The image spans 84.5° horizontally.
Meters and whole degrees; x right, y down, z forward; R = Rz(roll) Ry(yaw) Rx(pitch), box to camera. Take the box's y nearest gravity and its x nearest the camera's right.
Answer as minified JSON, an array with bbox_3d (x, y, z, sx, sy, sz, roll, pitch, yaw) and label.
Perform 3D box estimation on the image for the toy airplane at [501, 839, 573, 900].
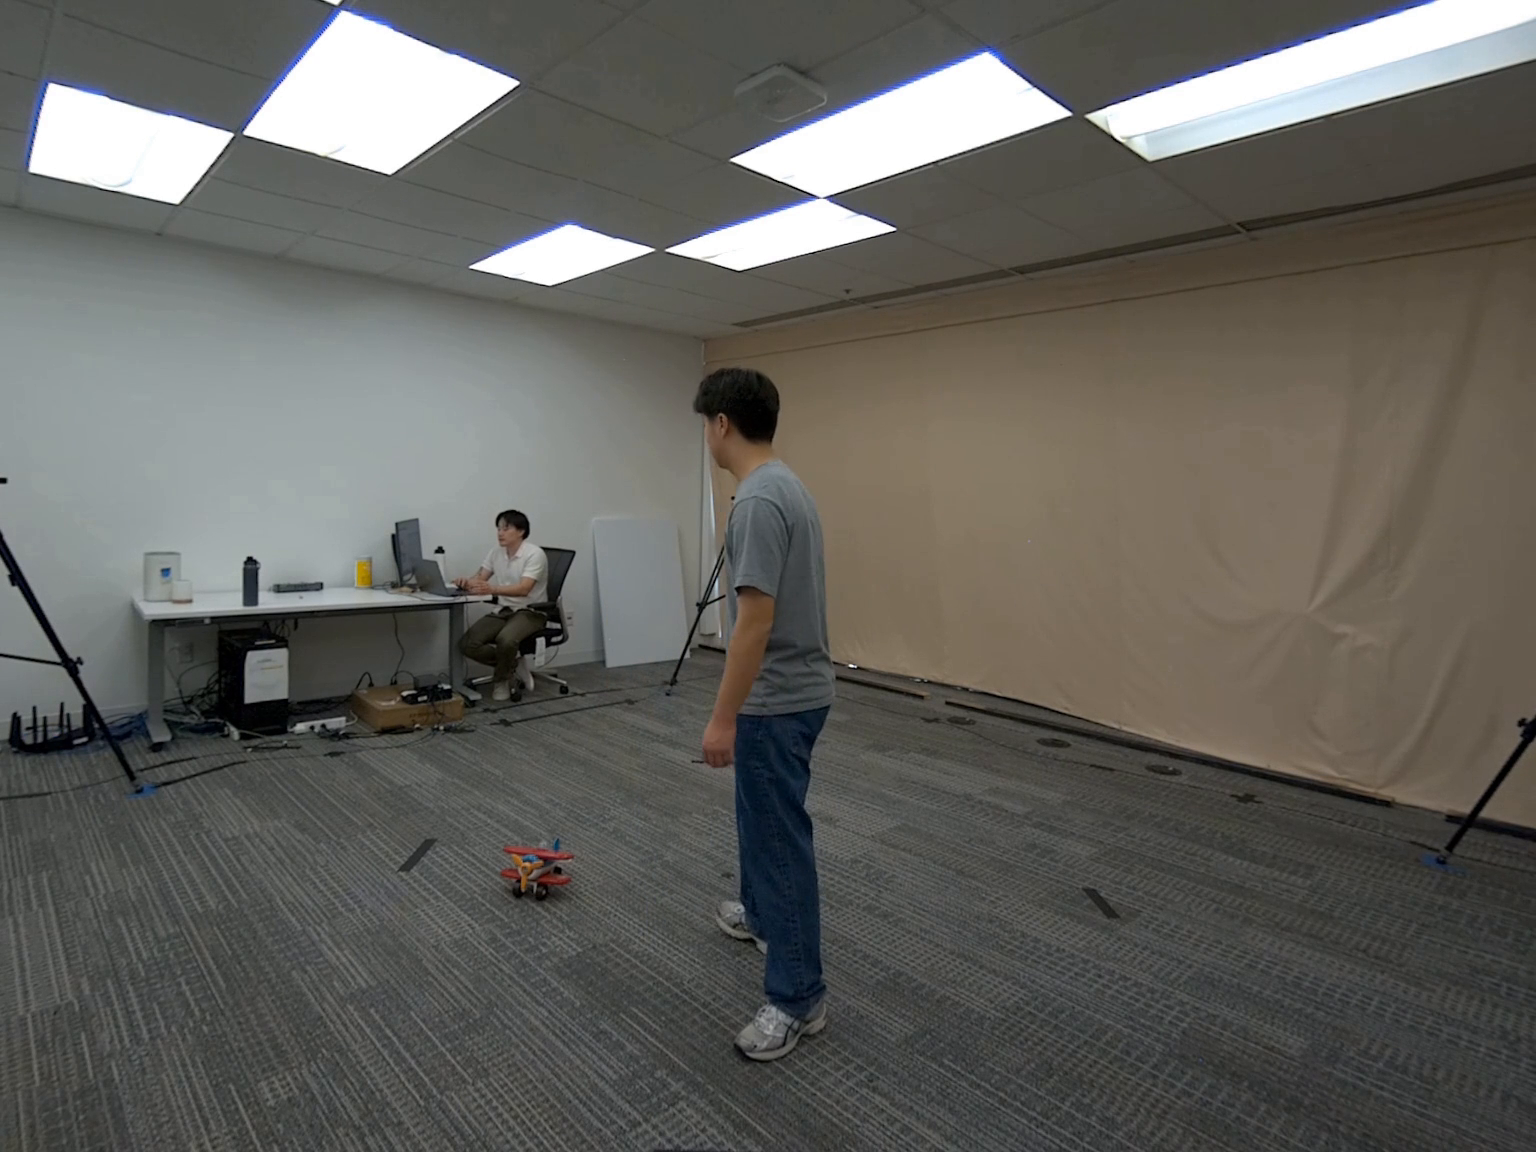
[{"bbox_3d":[-0.823,1.028,2.972,0.248,0.156,0.263,0,6,-16],"label":"toy airplane"}]
